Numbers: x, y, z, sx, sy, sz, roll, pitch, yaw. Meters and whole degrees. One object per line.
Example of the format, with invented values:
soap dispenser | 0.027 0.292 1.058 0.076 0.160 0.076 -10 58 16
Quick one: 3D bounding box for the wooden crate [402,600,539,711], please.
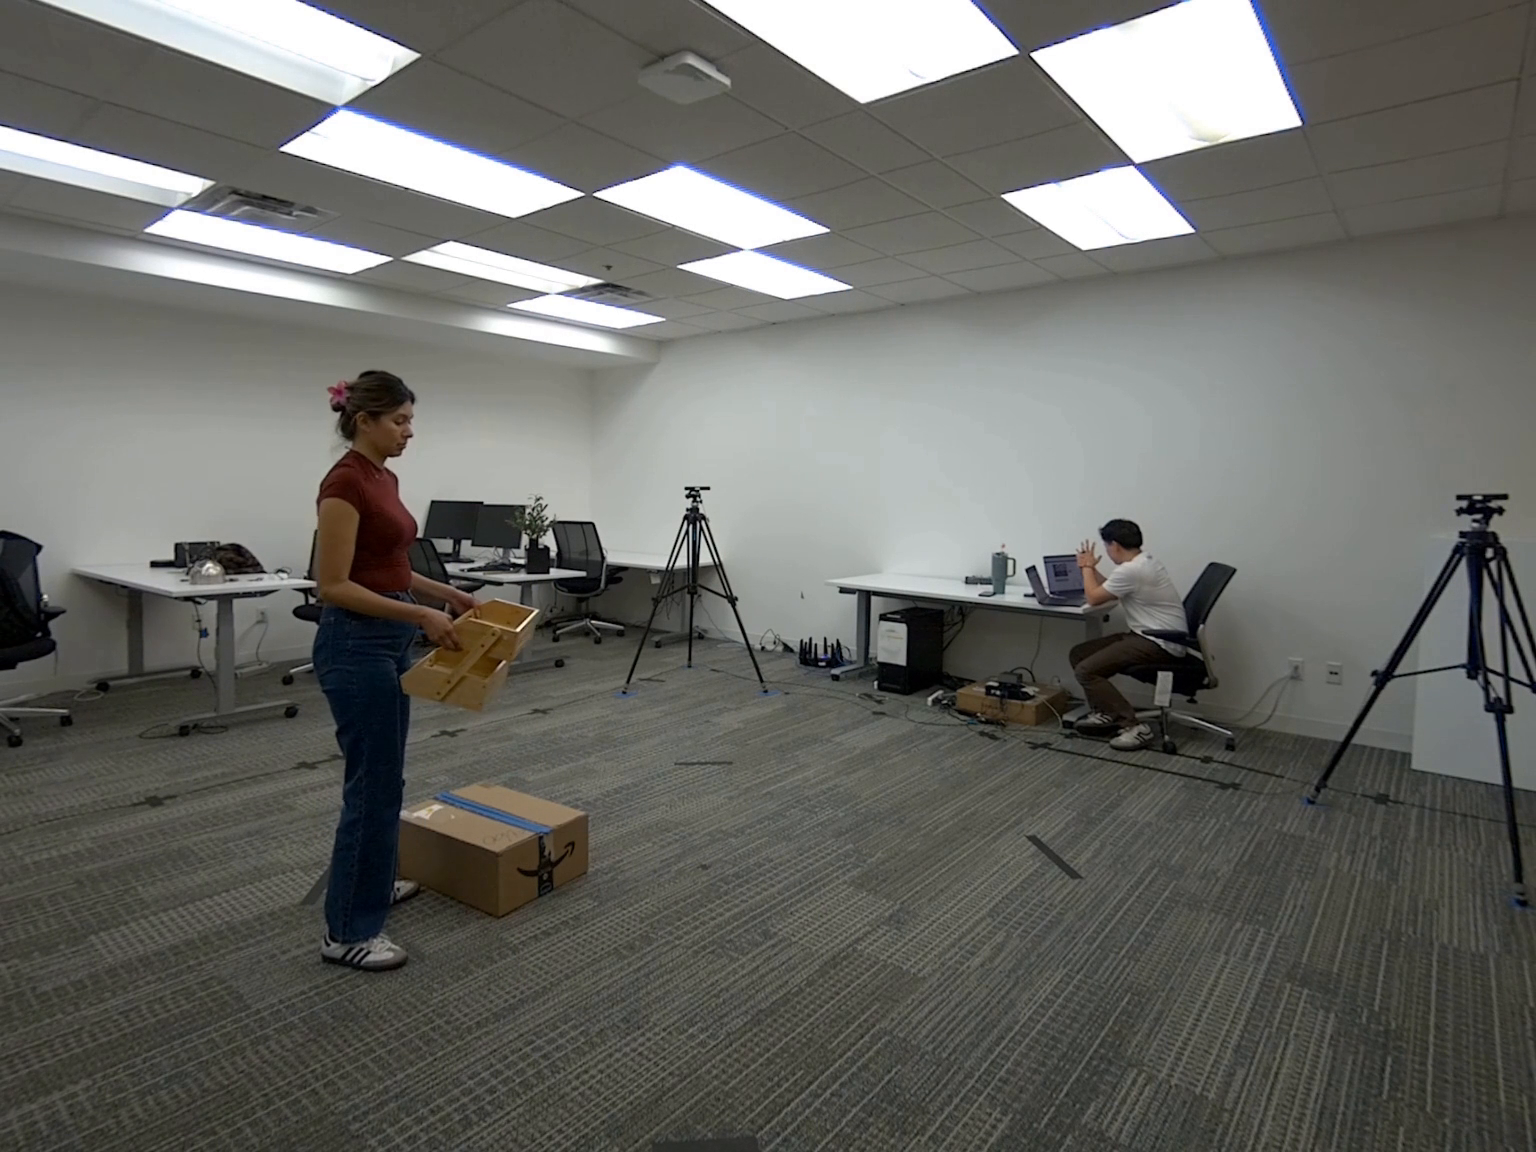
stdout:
wooden crate | -0.930 0.223 2.587 0.301 0.272 0.327 14 8 -4
